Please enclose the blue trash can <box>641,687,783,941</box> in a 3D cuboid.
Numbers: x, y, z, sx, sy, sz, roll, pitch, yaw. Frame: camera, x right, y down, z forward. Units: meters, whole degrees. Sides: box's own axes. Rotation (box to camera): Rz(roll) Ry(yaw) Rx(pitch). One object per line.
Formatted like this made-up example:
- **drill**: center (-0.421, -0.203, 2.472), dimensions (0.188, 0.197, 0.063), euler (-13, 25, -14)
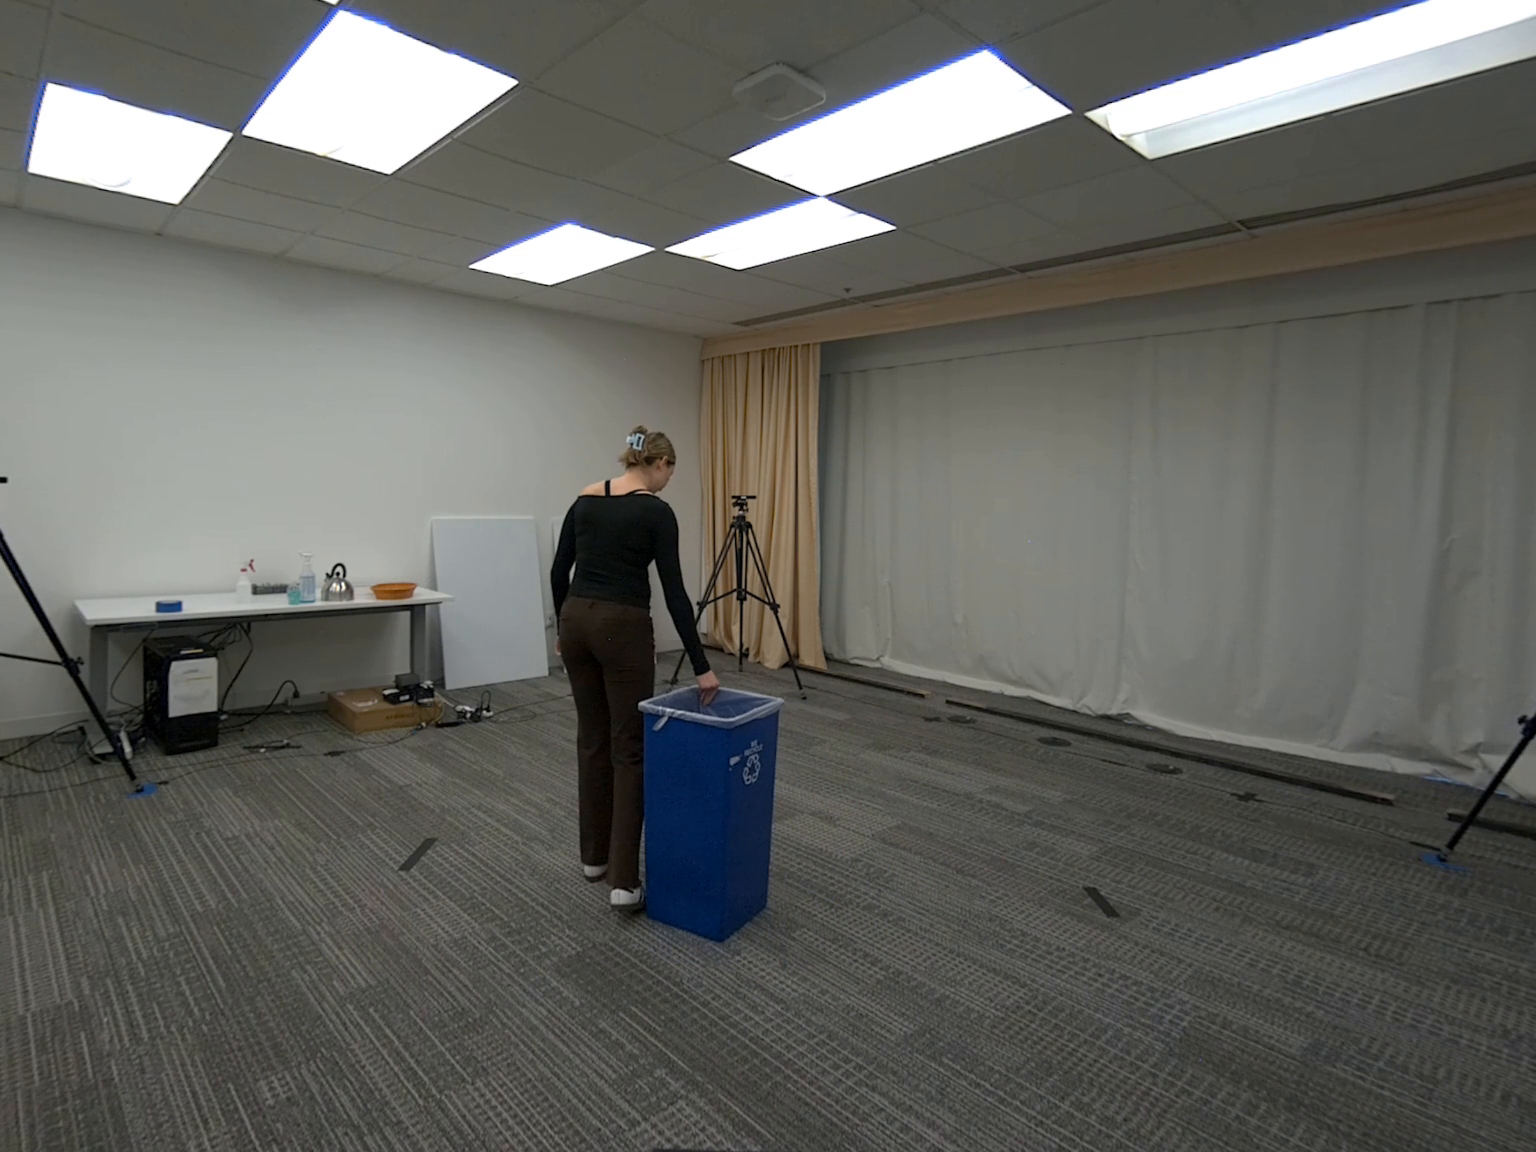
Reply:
- **blue trash can**: center (-0.195, 0.767, 2.809), dimensions (0.386, 0.712, 0.367), euler (3, 4, 29)
